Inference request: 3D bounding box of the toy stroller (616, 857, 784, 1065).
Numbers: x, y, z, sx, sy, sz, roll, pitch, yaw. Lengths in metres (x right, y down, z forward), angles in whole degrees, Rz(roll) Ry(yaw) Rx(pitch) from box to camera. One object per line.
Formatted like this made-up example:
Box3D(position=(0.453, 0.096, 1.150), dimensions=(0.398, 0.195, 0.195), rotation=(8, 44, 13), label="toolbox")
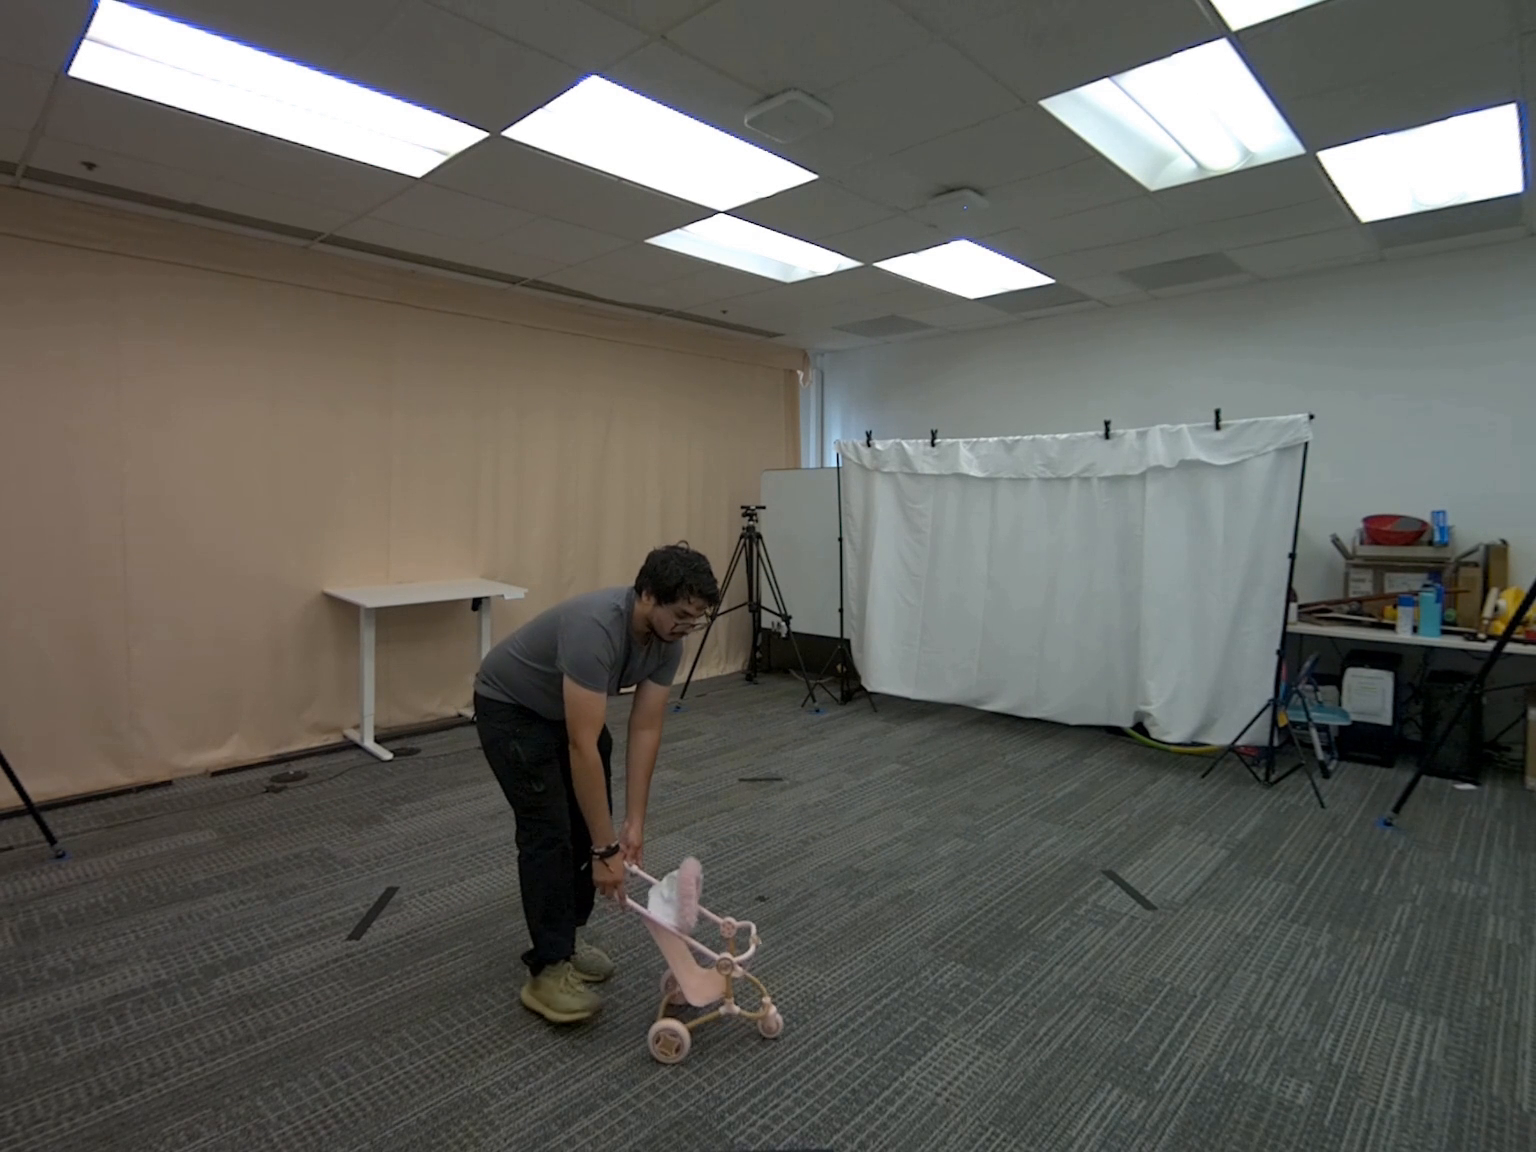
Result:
Box3D(position=(-0.182, 0.987, 2.209), dimensions=(0.344, 0.535, 0.279), rotation=(-16, 1, 7), label="toy stroller")
